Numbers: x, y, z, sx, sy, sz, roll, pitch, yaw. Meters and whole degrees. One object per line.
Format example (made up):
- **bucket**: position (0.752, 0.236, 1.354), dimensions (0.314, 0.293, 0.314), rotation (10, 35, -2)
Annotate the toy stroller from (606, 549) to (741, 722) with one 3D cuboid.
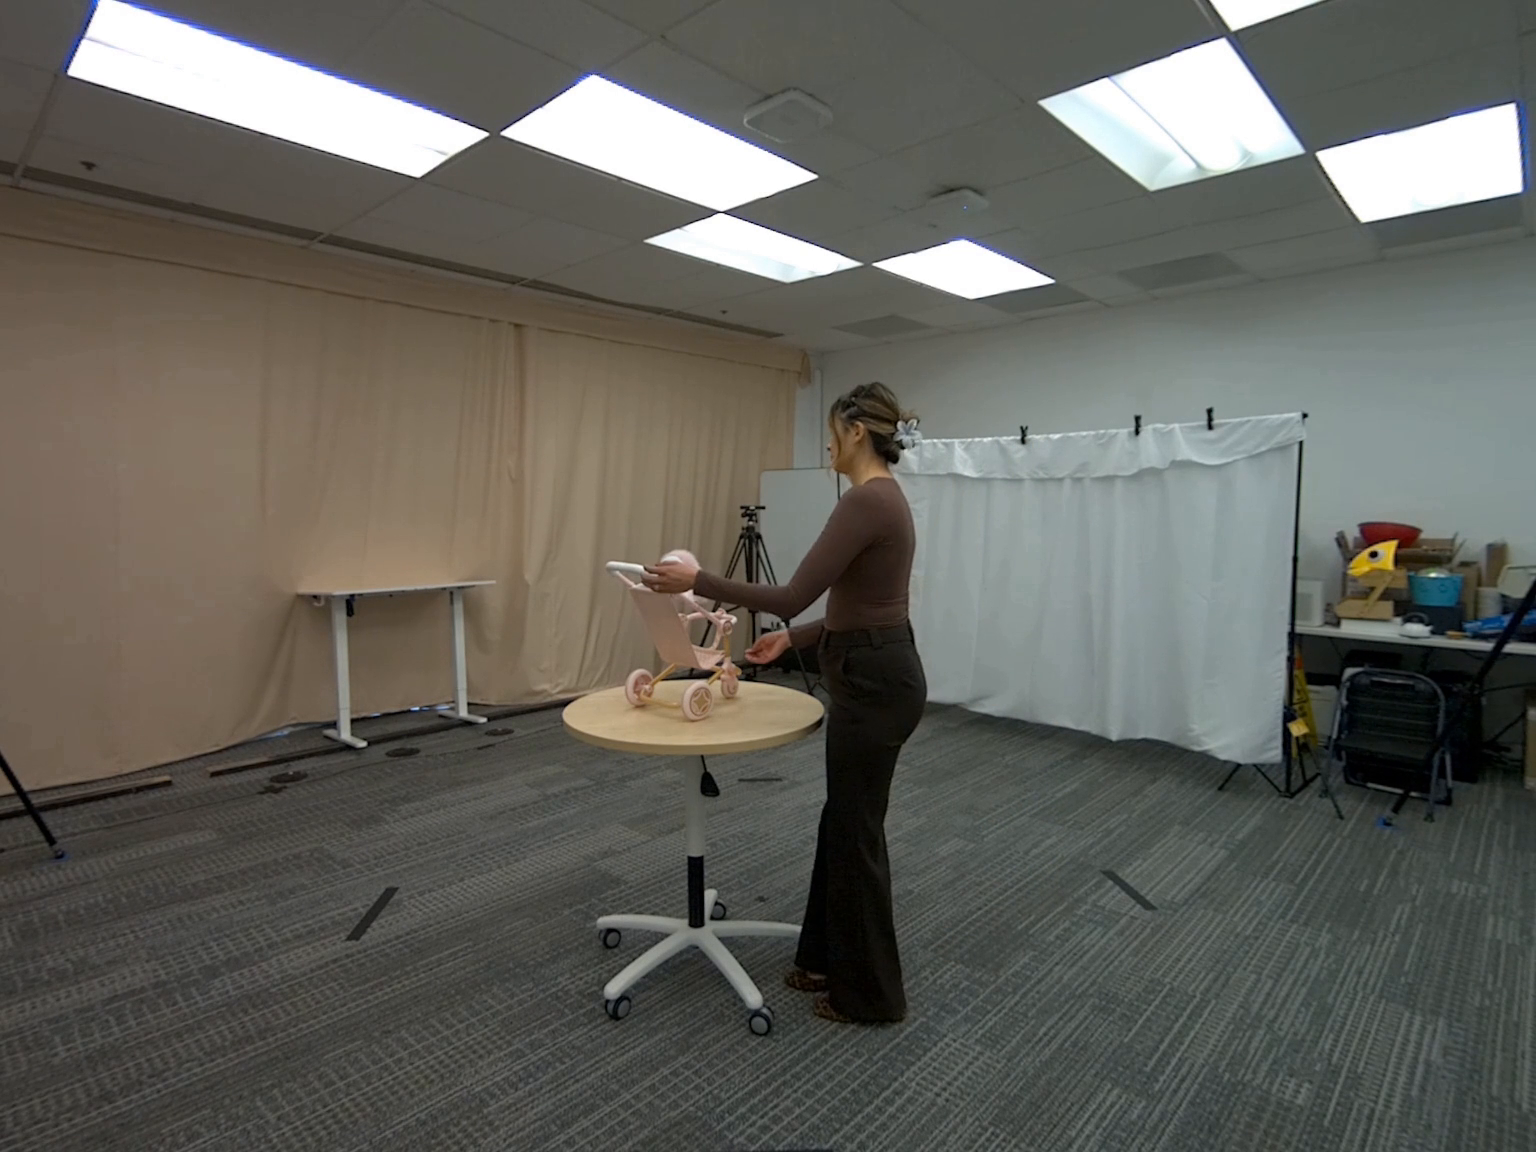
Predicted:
- **toy stroller**: position (-0.244, 0.167, 2.454), dimensions (0.333, 0.529, 0.291), rotation (-21, 17, -39)
